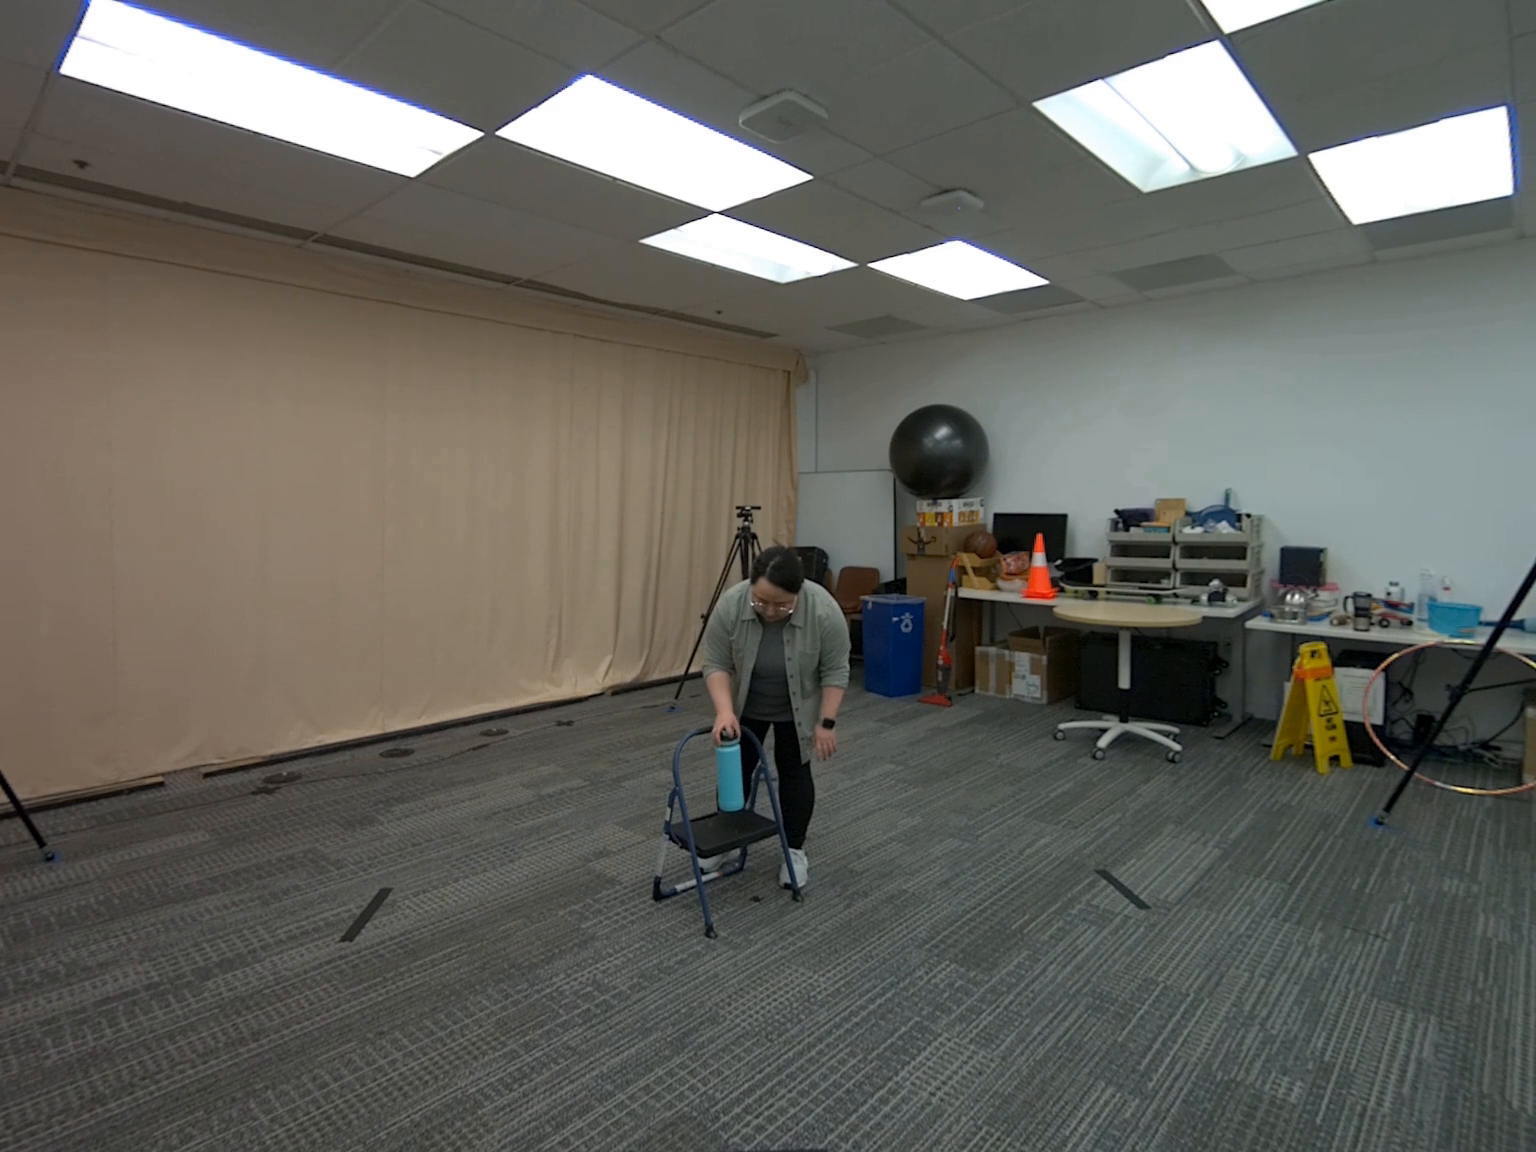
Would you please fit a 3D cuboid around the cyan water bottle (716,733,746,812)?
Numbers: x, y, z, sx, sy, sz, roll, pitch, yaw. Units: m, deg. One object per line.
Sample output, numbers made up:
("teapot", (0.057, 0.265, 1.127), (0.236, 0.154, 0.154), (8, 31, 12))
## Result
("cyan water bottle", (-0.142, 0.672, 2.953), (0.092, 0.282, 0.093), (-4, 7, -1))
